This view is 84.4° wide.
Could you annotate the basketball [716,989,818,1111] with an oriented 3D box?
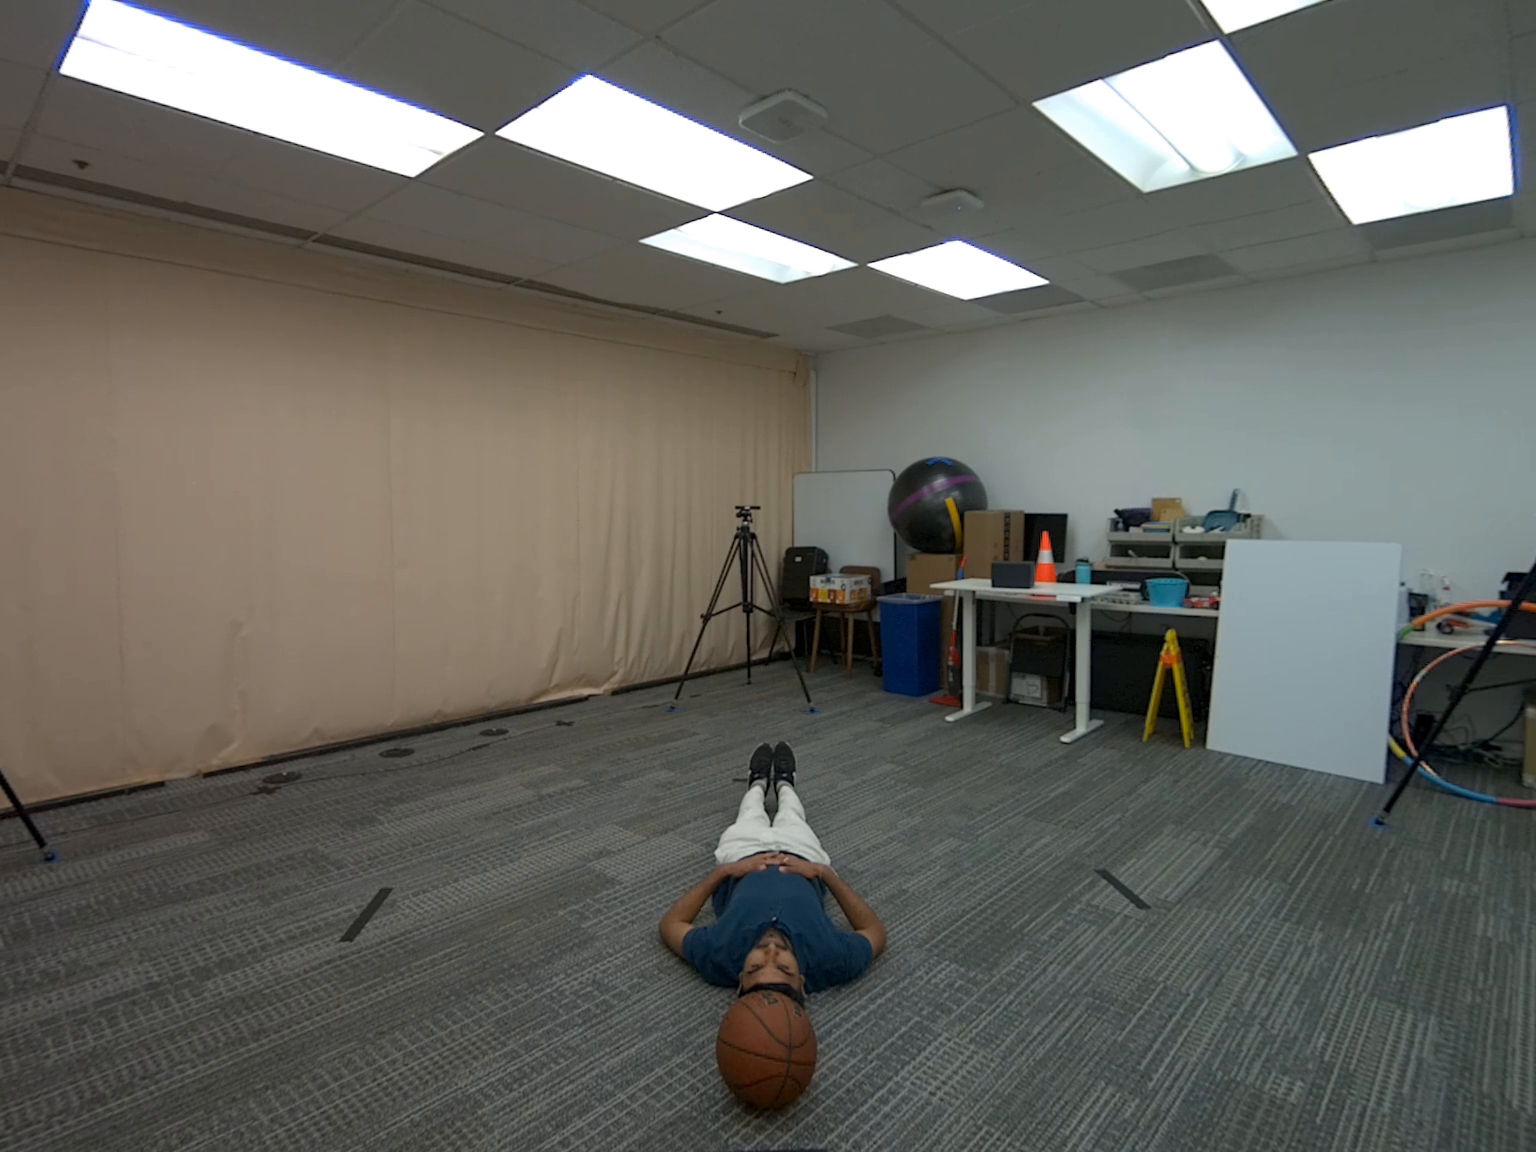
[{"bbox_3d":[0.000,1.111,1.971,0.236,0.235,0.237,0,4,-2],"label":"basketball"}]
